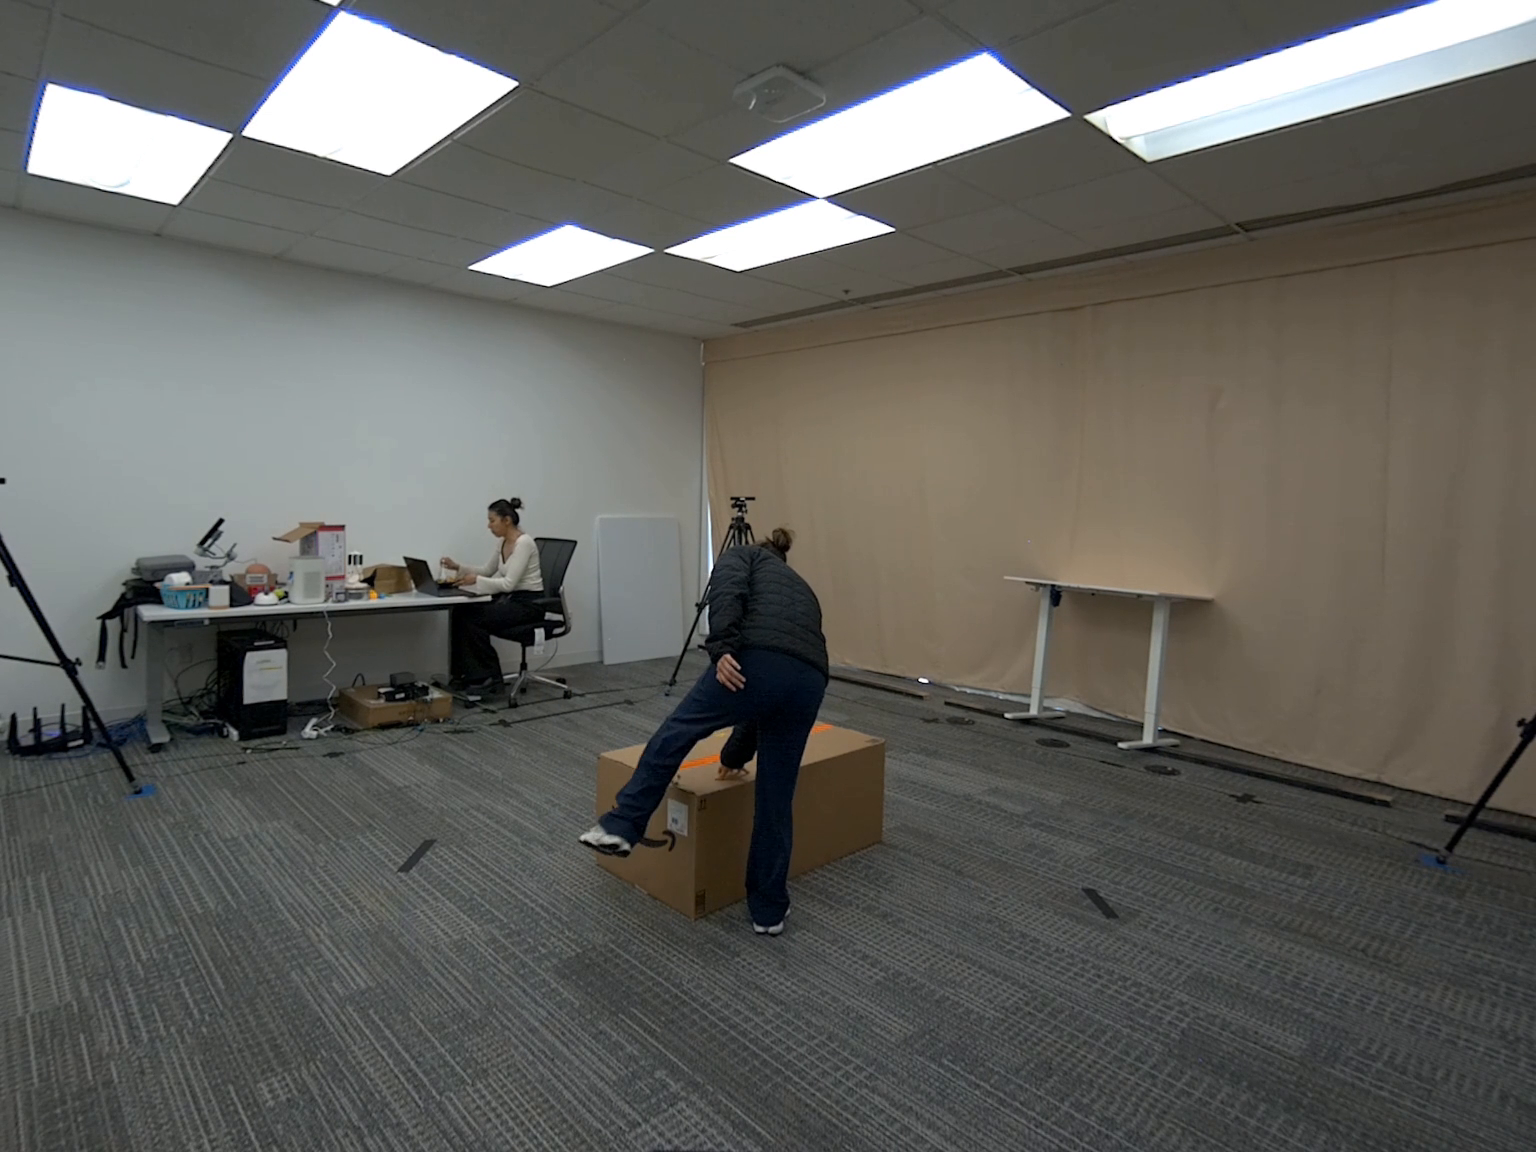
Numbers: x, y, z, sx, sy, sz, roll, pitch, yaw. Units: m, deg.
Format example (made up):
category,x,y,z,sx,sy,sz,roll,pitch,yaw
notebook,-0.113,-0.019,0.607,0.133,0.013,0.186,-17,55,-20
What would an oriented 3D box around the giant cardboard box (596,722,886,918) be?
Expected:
category,x,y,z,sx,sy,sz,roll,pitch,yaw
giant cardboard box,-0.091,0.883,3.297,1.003,0.445,0.599,-3,7,-44
